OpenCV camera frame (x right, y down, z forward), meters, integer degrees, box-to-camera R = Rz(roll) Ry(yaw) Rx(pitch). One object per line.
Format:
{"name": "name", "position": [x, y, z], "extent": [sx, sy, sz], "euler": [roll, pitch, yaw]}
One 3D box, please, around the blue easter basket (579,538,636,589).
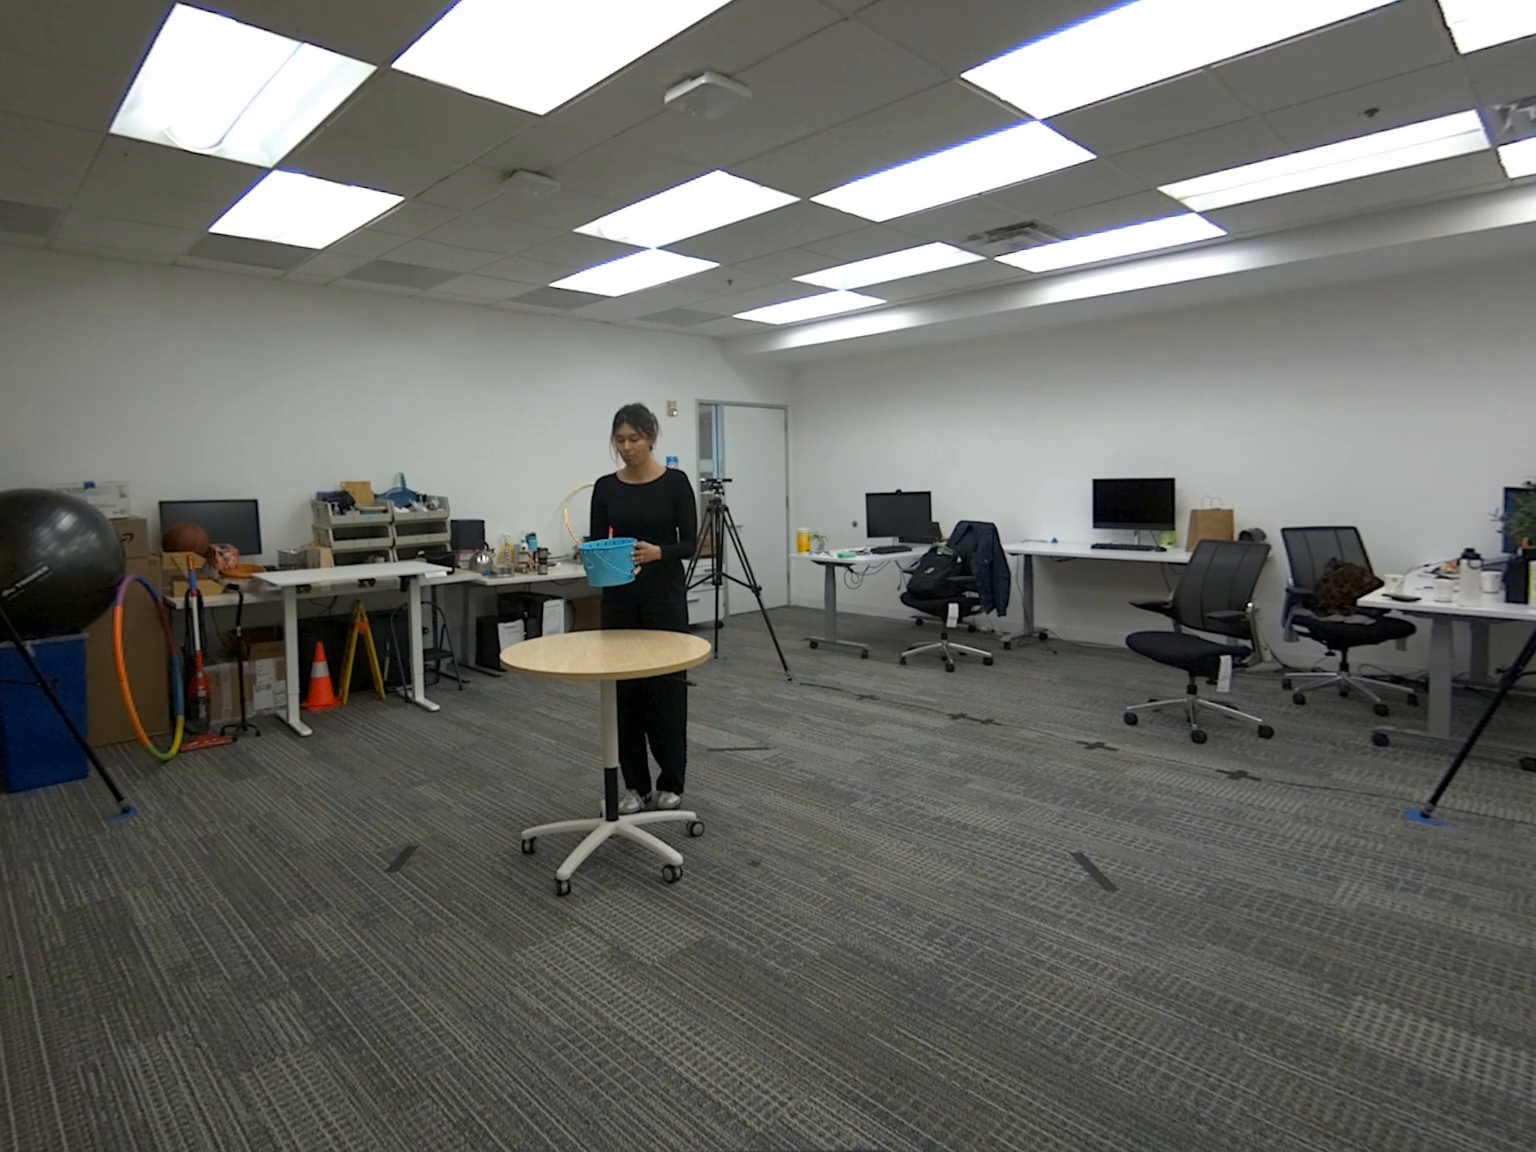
{"name": "blue easter basket", "position": [-0.612, -0.049, 3.334], "extent": [0.243, 0.155, 0.245], "euler": [-6, 9, -1]}
